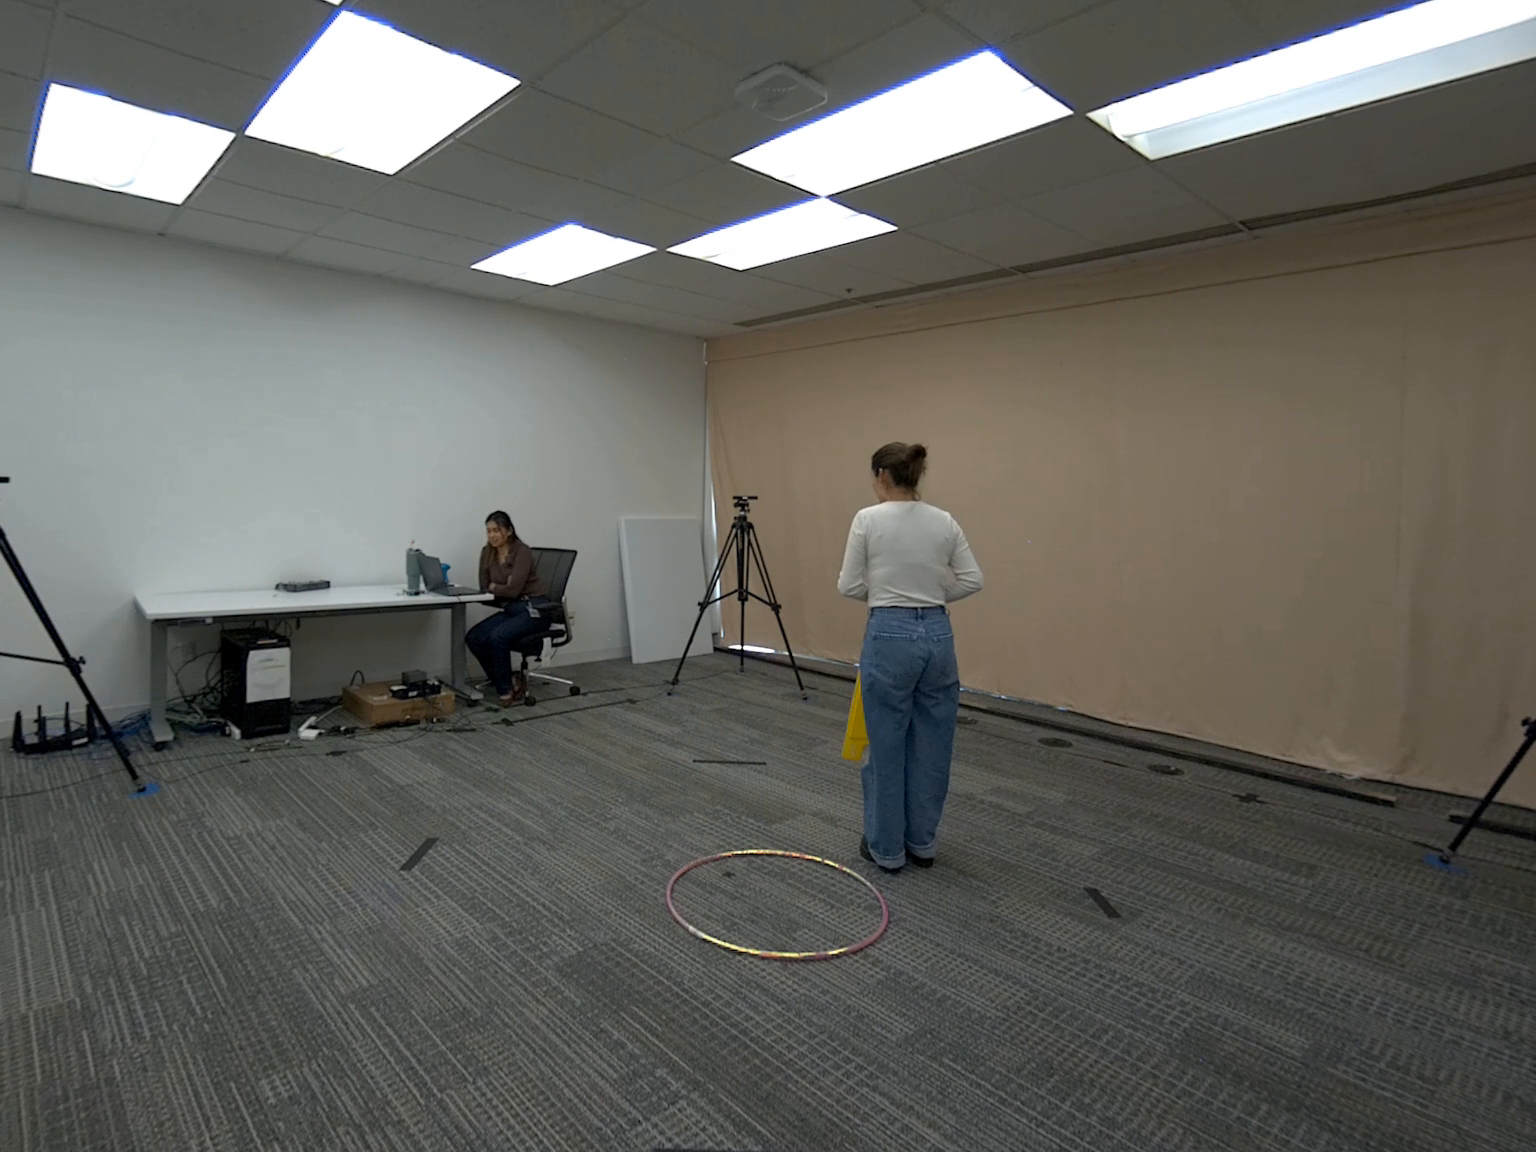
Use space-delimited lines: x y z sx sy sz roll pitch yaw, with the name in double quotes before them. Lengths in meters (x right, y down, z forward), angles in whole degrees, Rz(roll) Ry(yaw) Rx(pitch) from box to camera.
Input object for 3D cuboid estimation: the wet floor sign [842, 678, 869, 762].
"wet floor sign" 0.498 0.409 3.402 0.285 0.639 0.290 9 17 9
